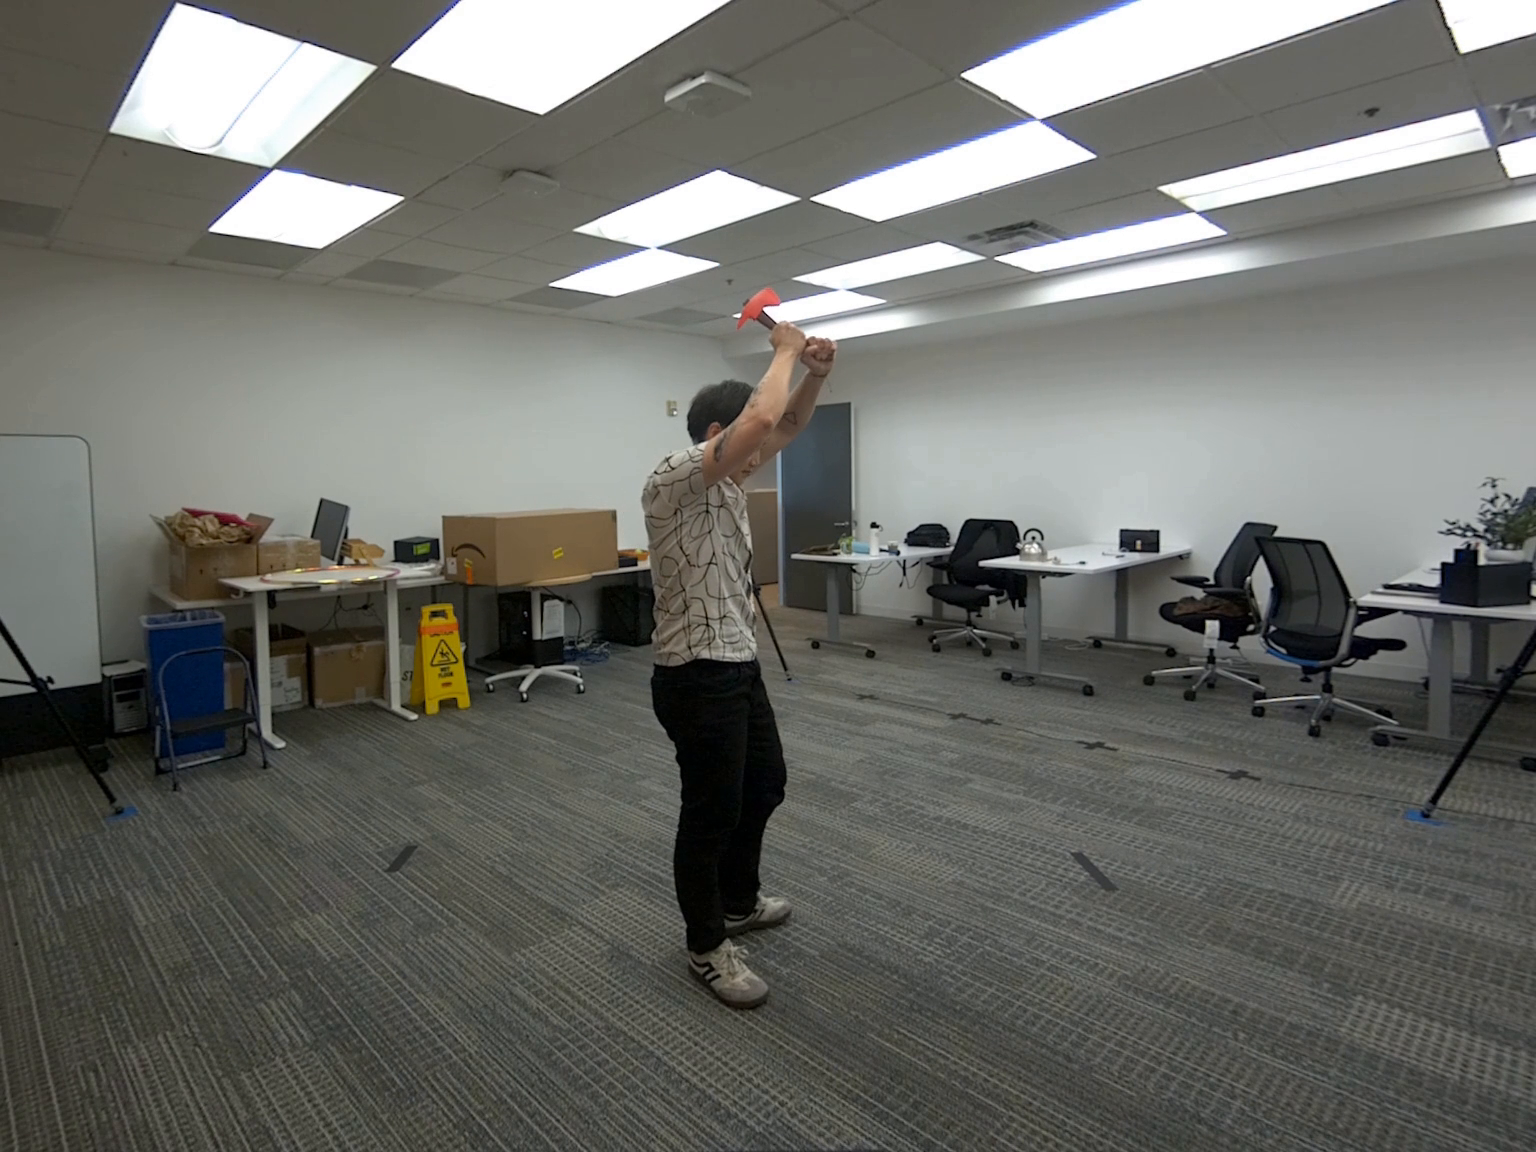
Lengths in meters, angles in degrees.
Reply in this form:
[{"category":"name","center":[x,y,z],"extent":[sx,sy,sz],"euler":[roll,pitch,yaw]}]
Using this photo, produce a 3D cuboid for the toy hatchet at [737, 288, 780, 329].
[{"category":"toy hatchet","center":[0.062,-0.670,2.227],"extent":[0.269,0.131,0.029],"euler":[20,-5,-3]}]
